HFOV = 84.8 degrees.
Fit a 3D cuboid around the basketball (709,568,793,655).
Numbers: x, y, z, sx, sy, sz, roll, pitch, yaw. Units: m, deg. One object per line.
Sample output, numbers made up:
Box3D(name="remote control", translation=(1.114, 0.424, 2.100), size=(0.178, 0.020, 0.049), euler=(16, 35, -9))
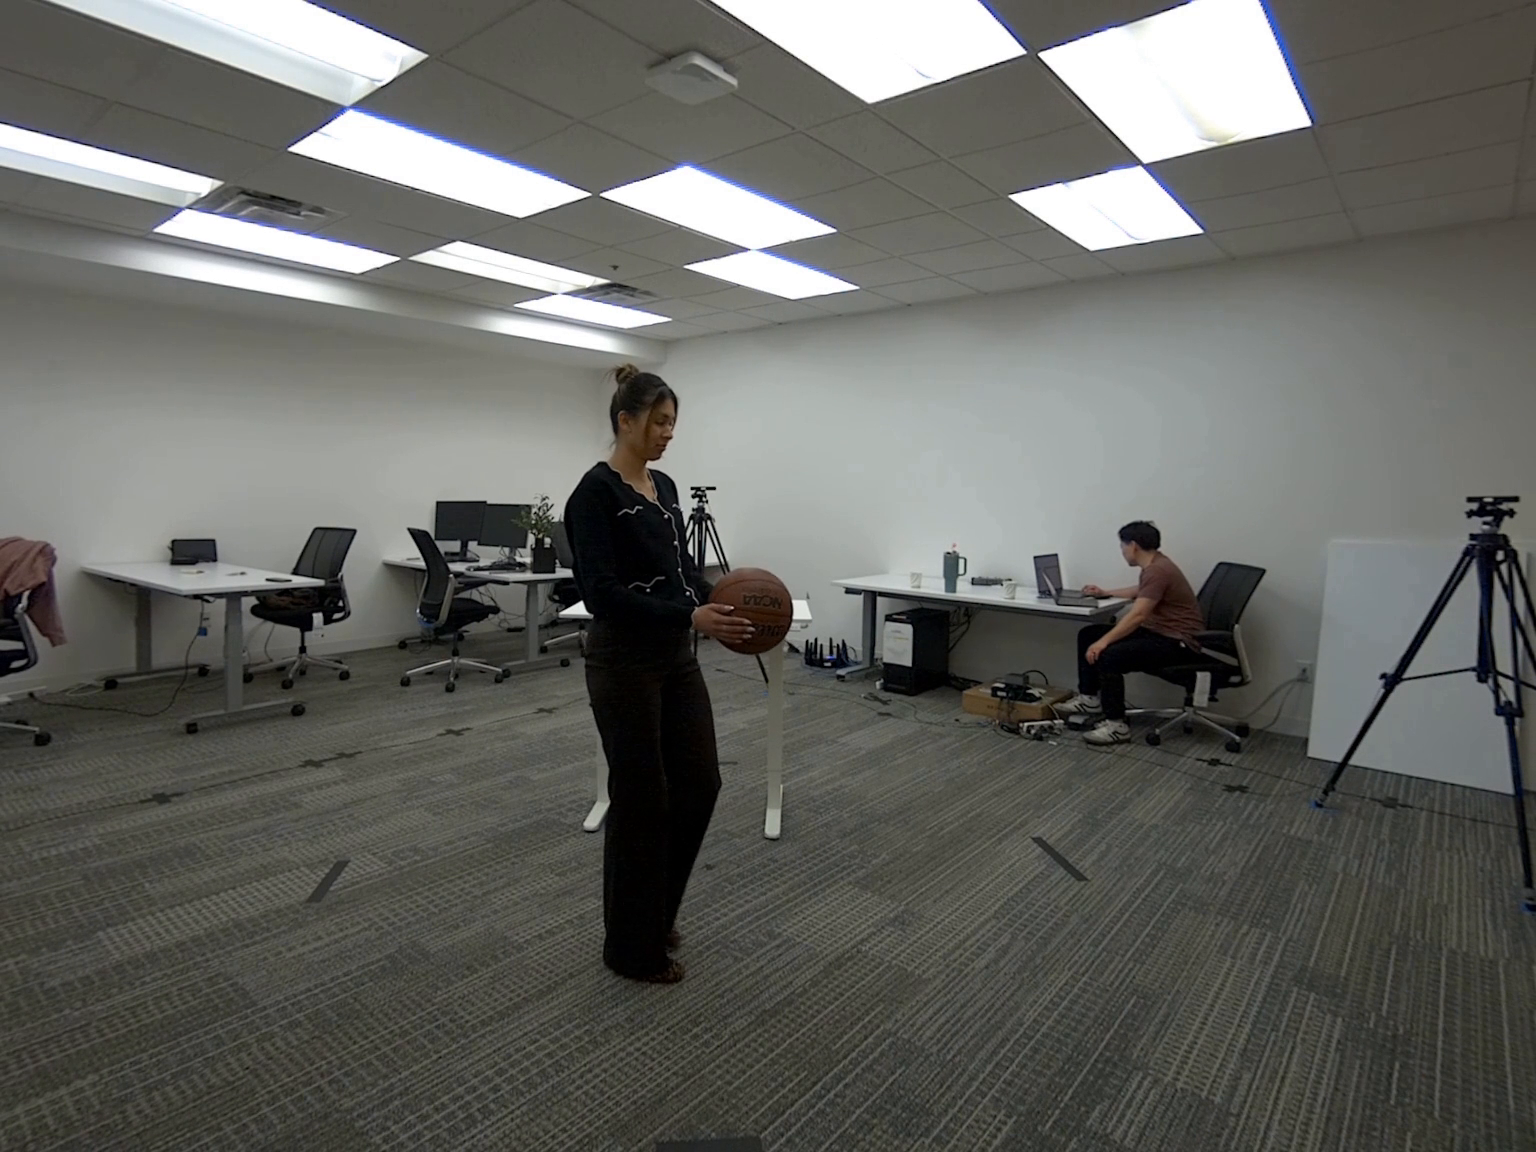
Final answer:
Box3D(name="basketball", translation=(-0.057, 0.097, 2.297), size=(0.235, 0.235, 0.237), euler=(1, 4, -2))
